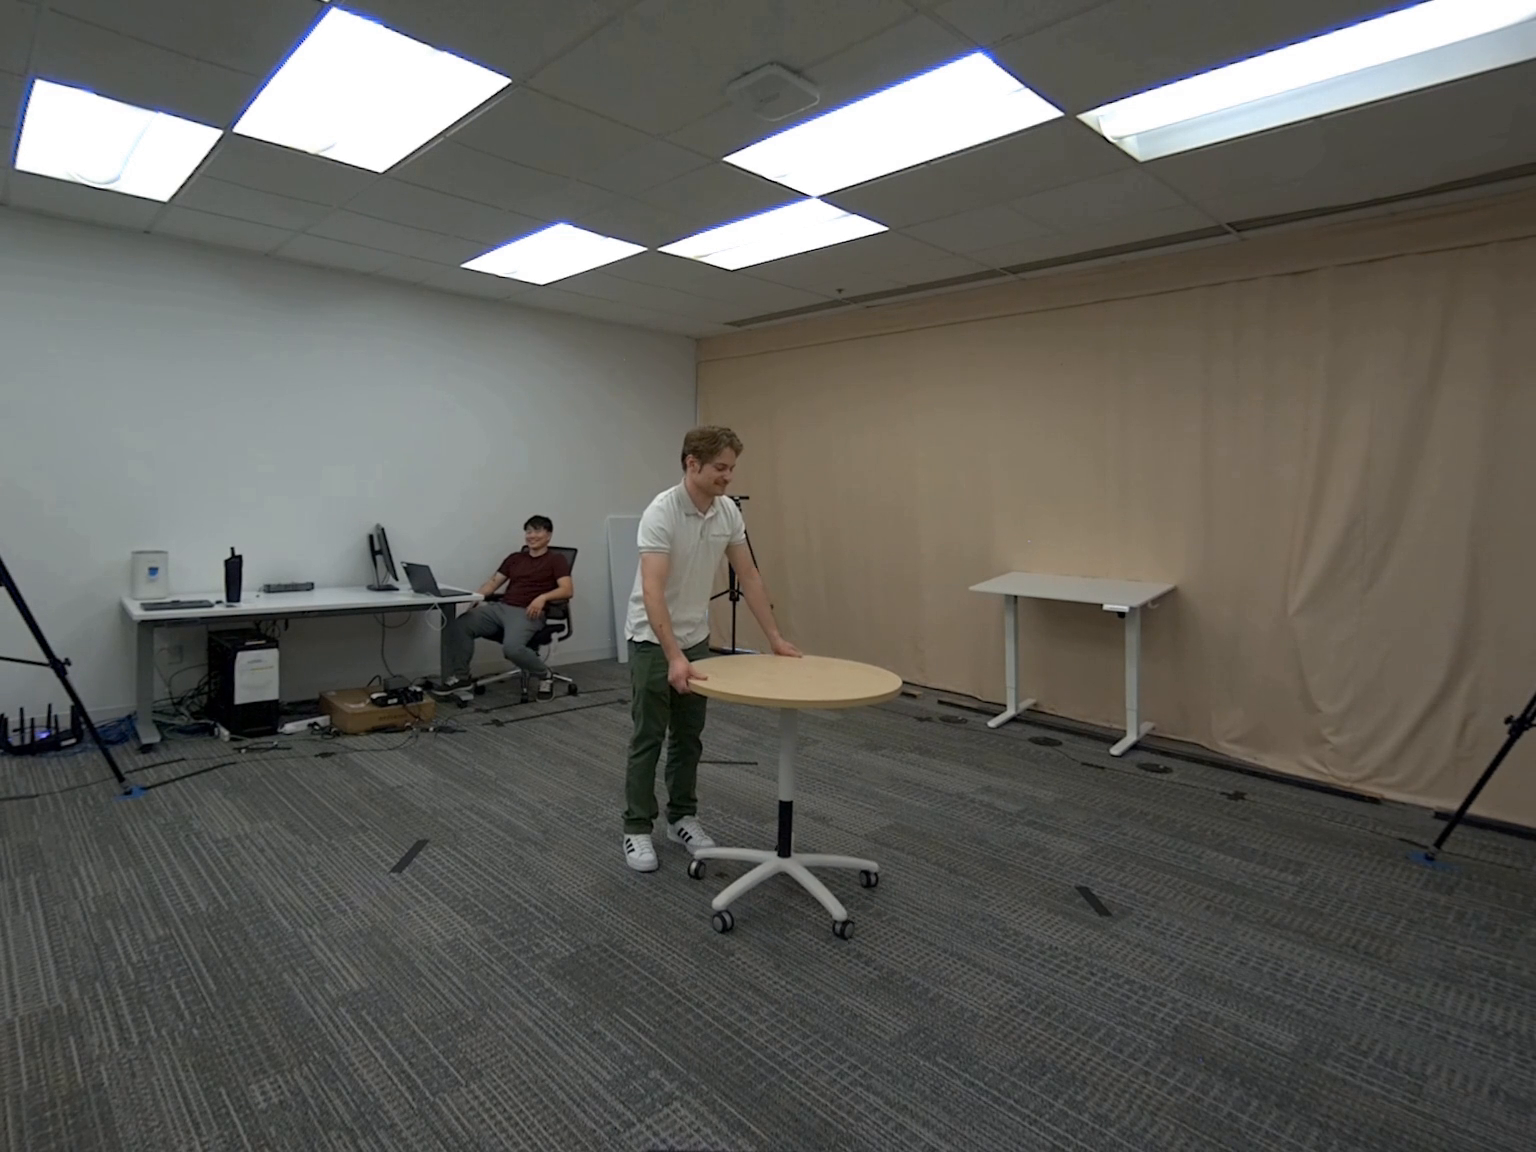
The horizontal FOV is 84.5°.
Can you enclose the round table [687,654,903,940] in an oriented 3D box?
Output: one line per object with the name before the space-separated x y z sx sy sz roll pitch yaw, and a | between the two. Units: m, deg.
round table | 0.056 0.736 2.930 0.763 0.792 0.766 2 4 -1
